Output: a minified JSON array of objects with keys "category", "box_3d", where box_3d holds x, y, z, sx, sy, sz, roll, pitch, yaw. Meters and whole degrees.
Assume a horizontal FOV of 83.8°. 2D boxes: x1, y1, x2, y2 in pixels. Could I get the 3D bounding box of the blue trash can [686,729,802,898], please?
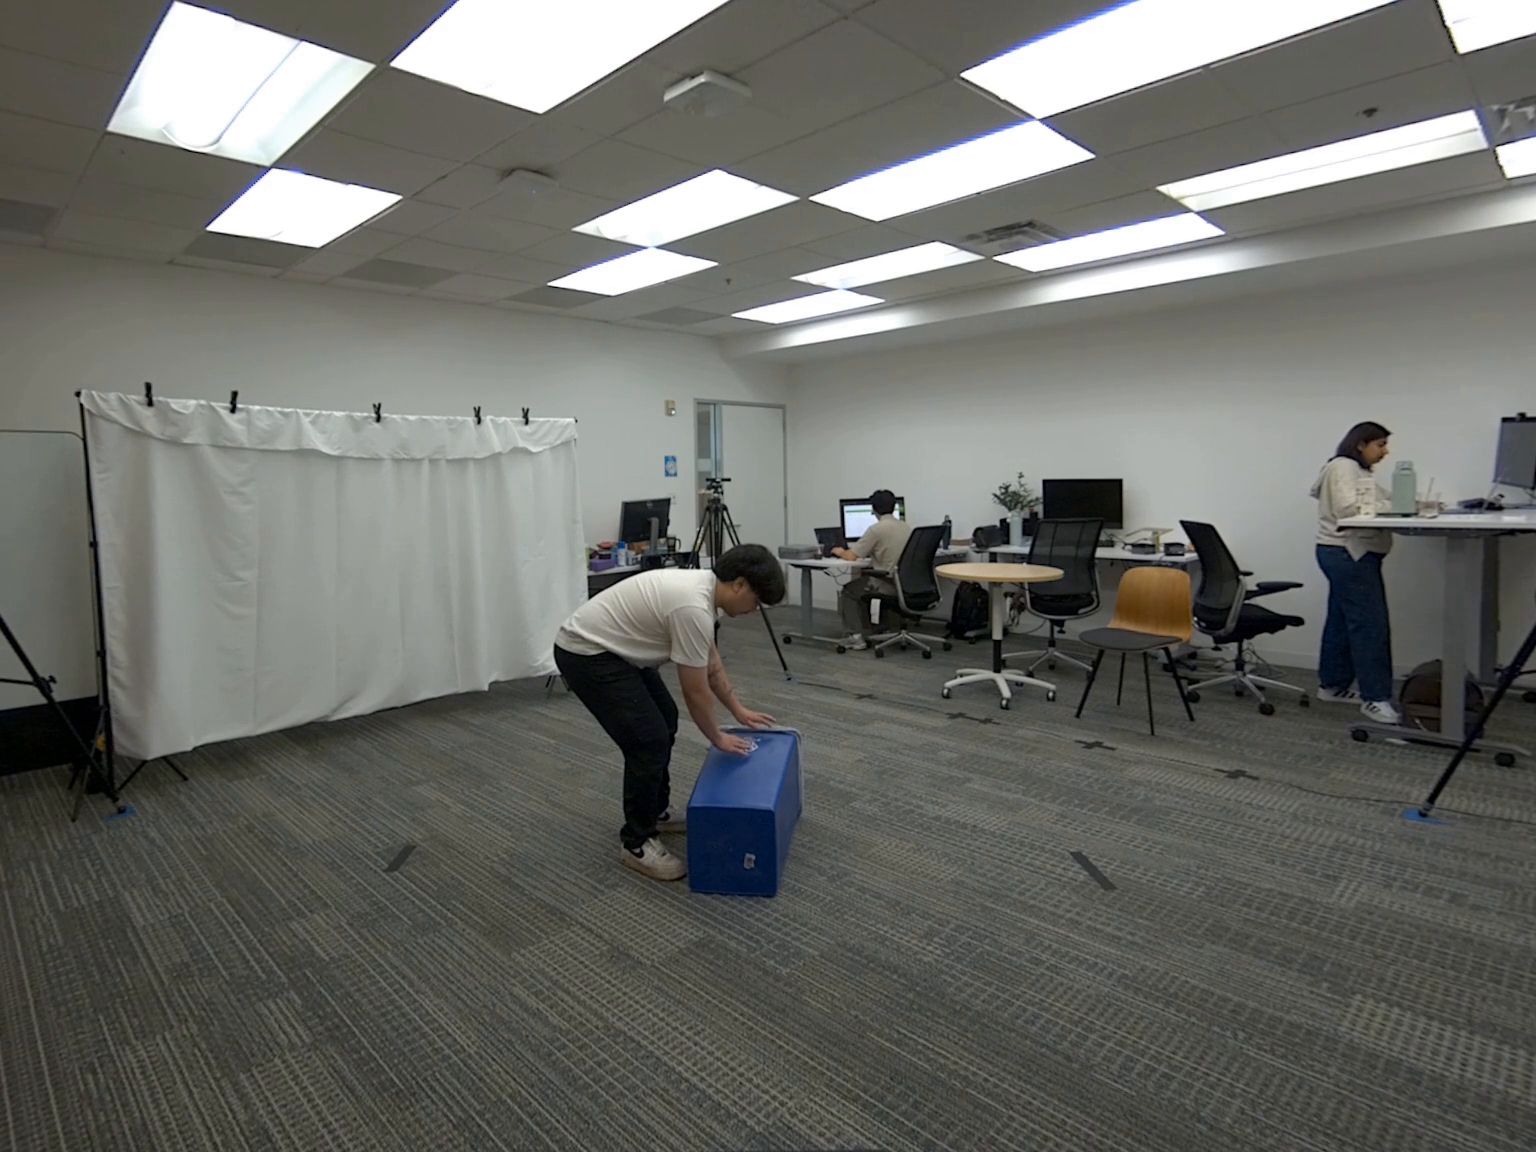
[{"category":"blue trash can","box_3d":[-0.078,0.862,3.201,0.377,0.375,0.713,0,9,6]}]
